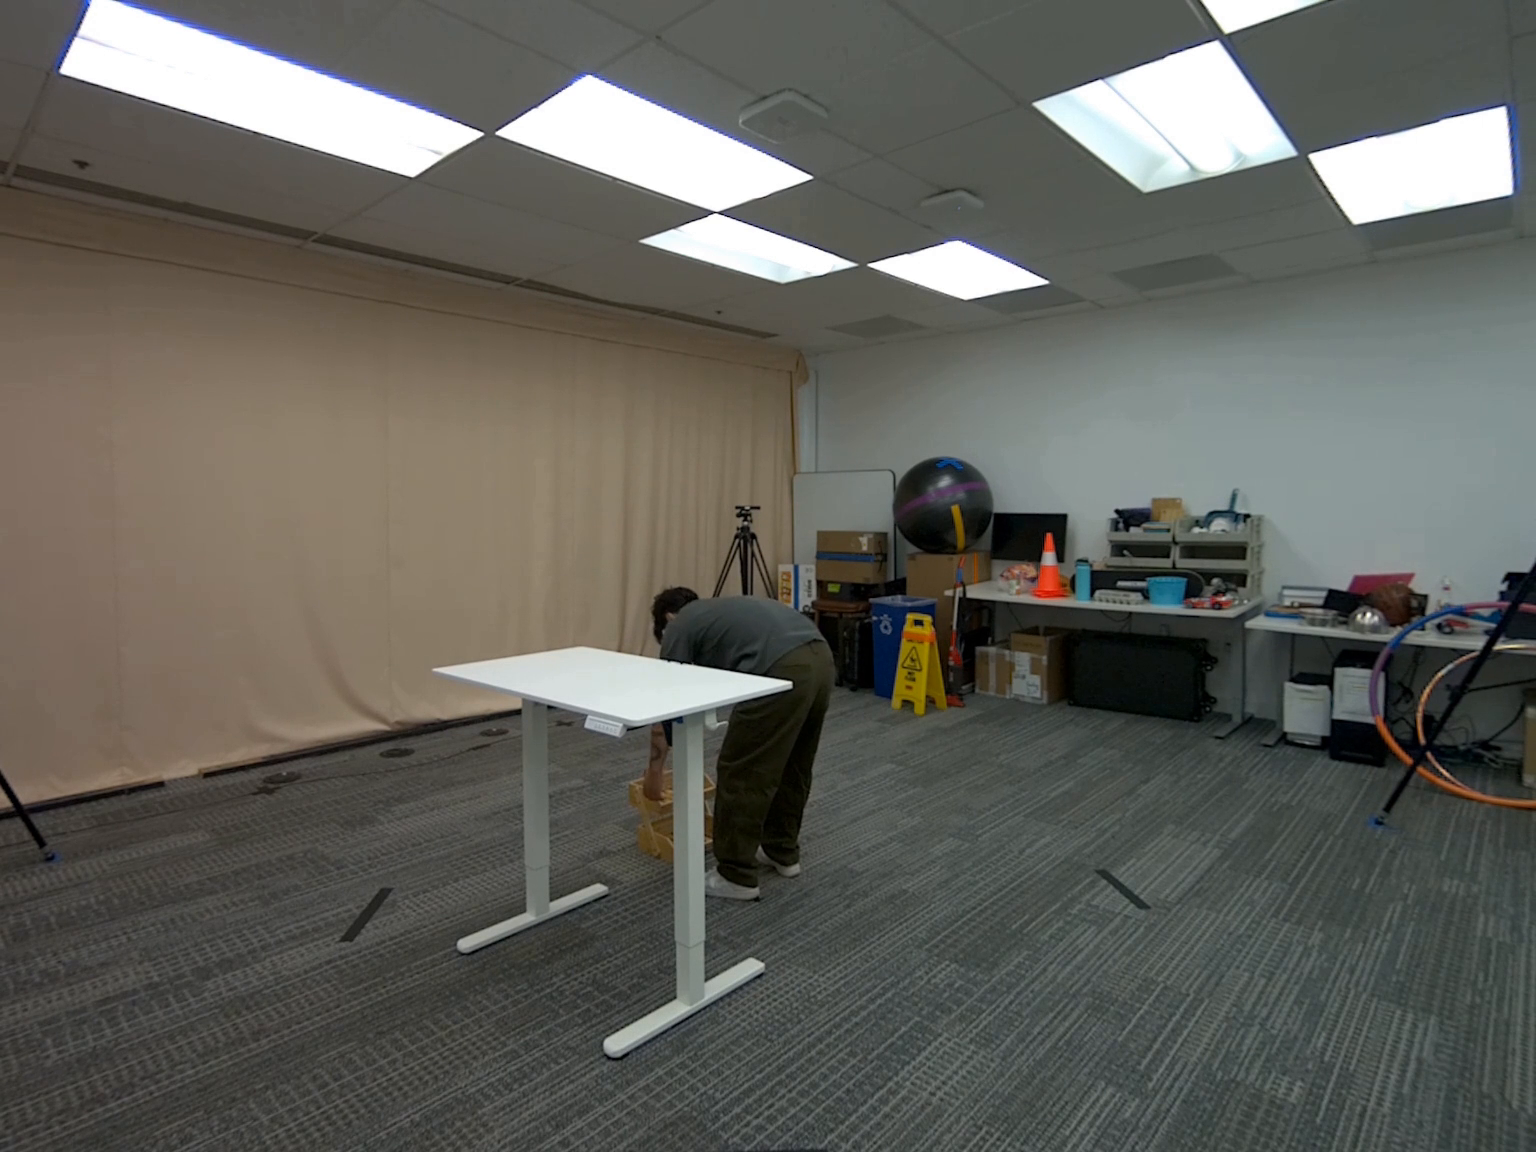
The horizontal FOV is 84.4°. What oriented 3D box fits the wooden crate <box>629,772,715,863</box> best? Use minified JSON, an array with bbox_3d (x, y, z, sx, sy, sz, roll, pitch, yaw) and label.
[{"bbox_3d":[-0.360,0.971,3.460,0.312,0.273,0.314,3,5,44],"label":"wooden crate"}]
